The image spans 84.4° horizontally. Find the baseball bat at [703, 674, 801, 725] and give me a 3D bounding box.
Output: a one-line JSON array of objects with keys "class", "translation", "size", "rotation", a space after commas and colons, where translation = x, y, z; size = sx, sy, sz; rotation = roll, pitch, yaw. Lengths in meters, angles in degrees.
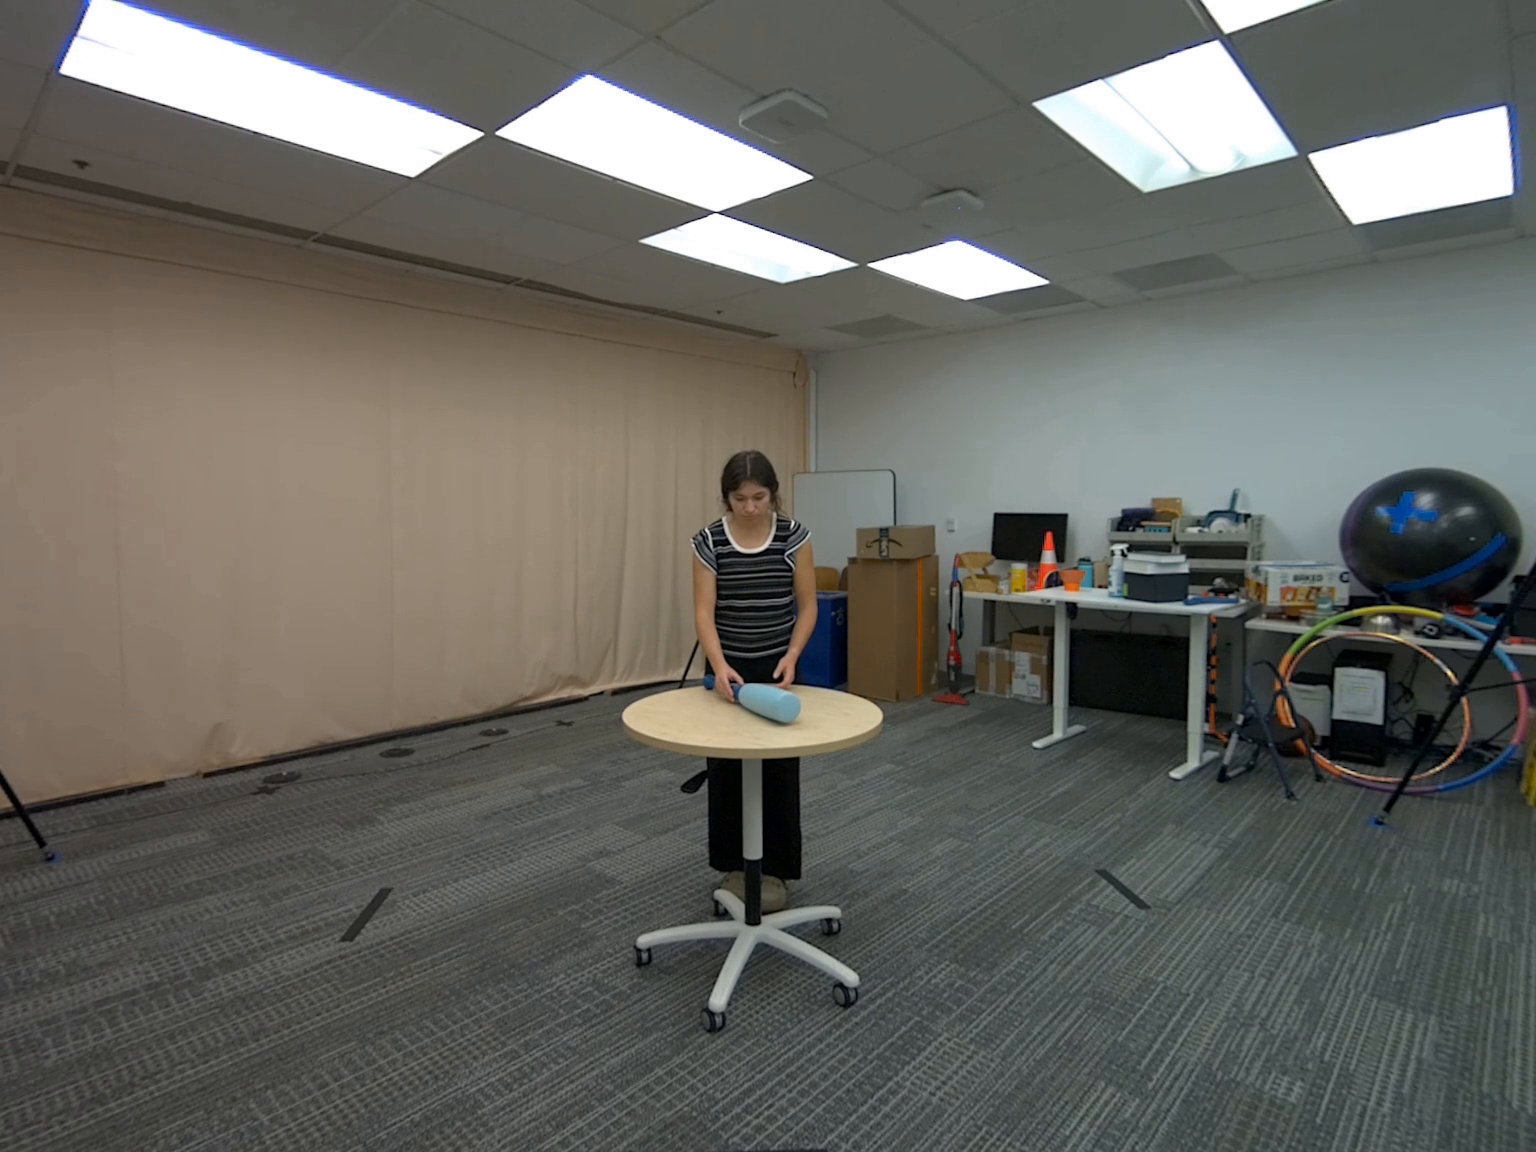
[{"class": "baseball bat", "translation": [-0.060, 0.358, 2.564], "size": [0.087, 0.089, 0.556], "rotation": [-2, 2, -25]}]
